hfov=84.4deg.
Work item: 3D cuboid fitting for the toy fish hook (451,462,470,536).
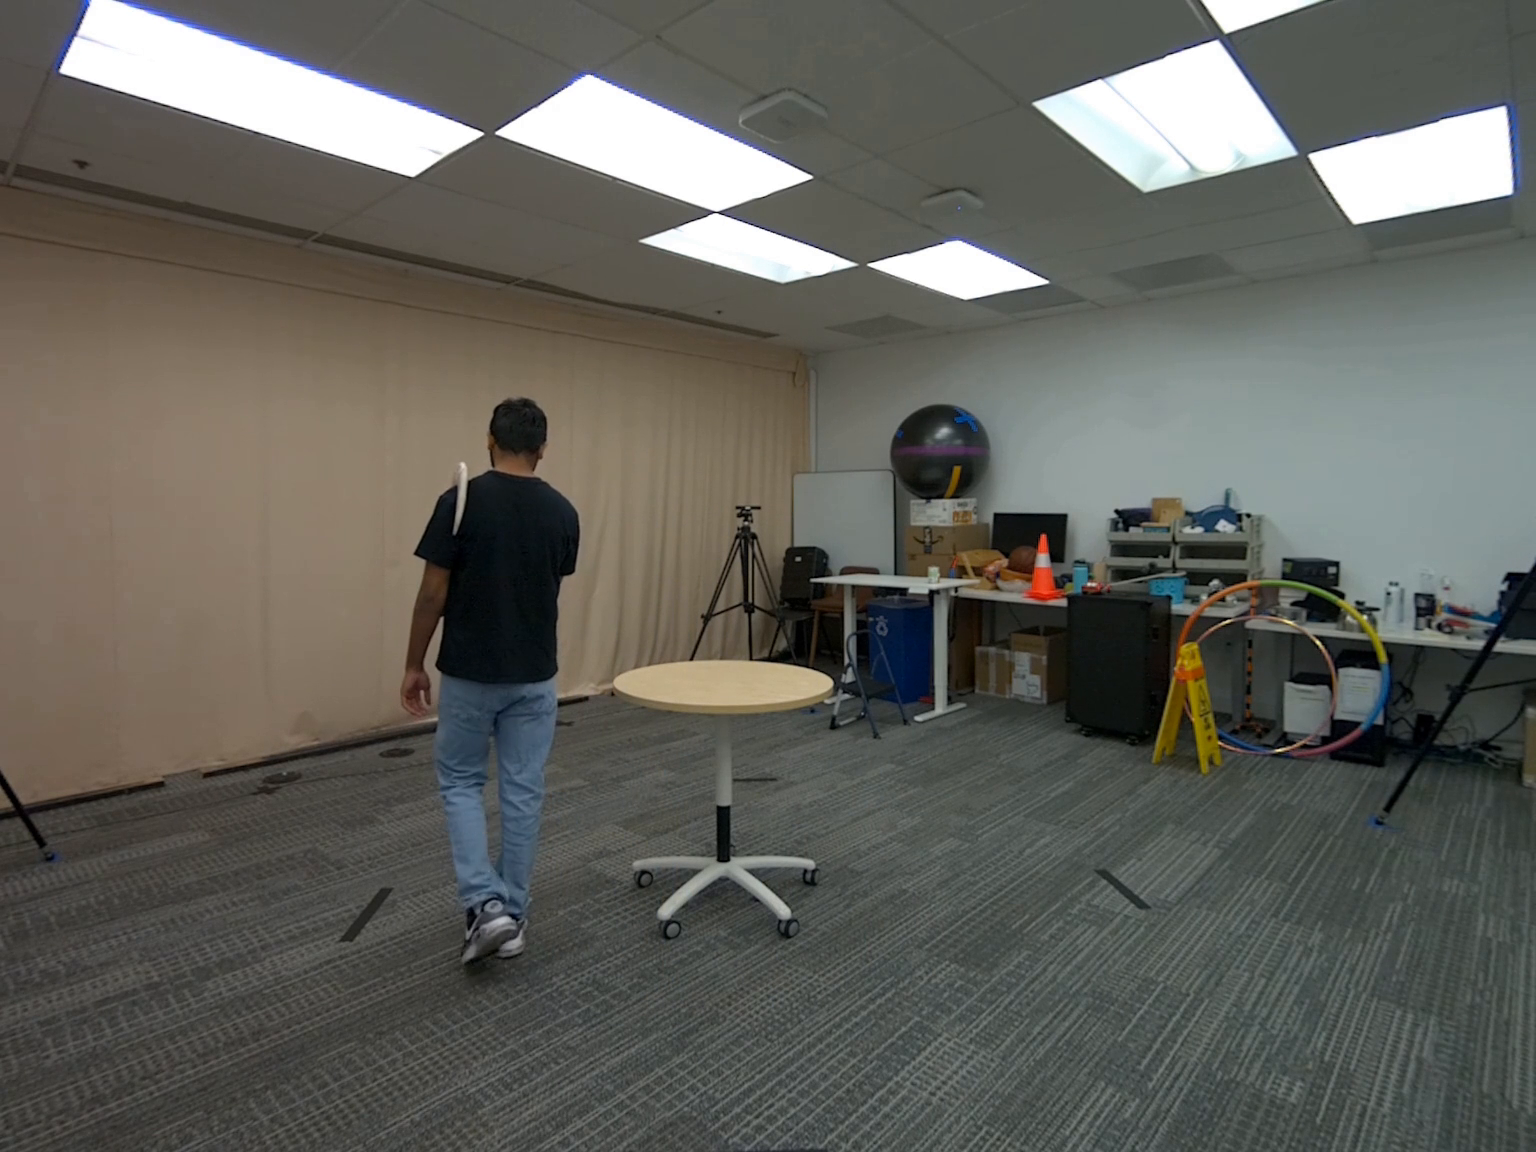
[{"bbox_3d":[-0.969,-0.094,2.537,0.047,0.505,0.229,9,7,-18],"label":"toy fish hook"}]
